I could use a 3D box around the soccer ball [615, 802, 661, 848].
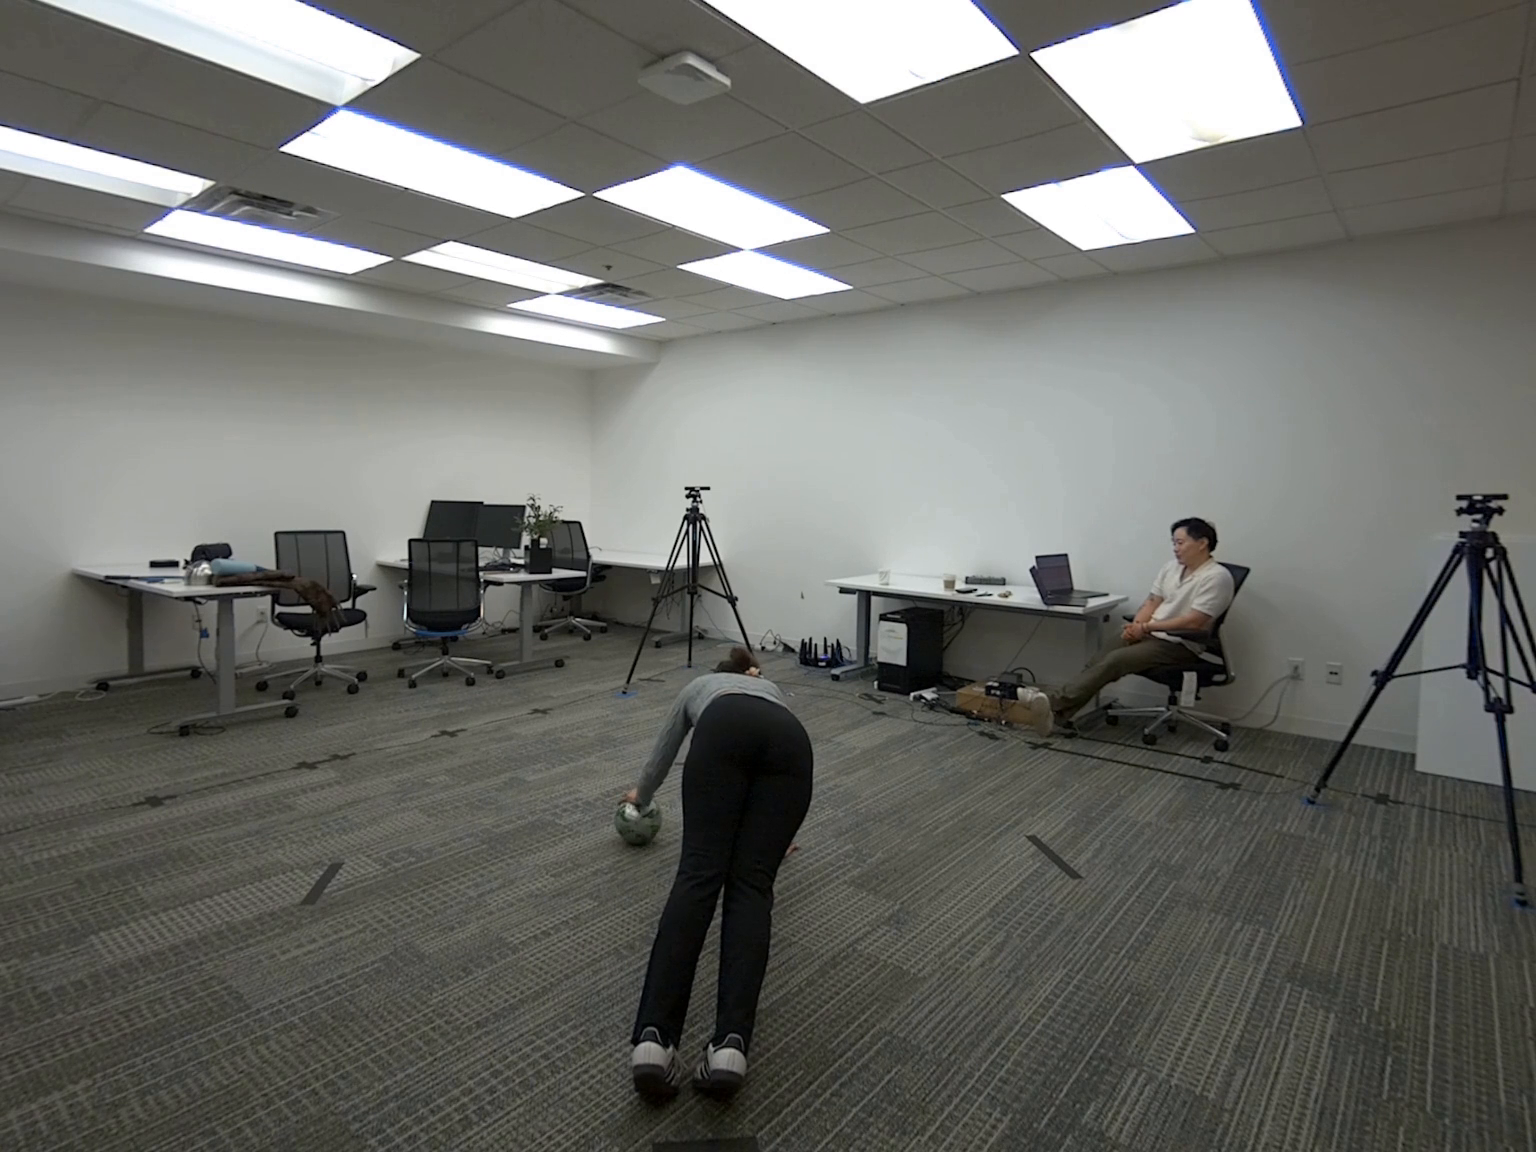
[{"bbox_3d":[-0.496,0.944,3.316,0.187,0.187,0.188,1,4,-2],"label":"soccer ball"}]
